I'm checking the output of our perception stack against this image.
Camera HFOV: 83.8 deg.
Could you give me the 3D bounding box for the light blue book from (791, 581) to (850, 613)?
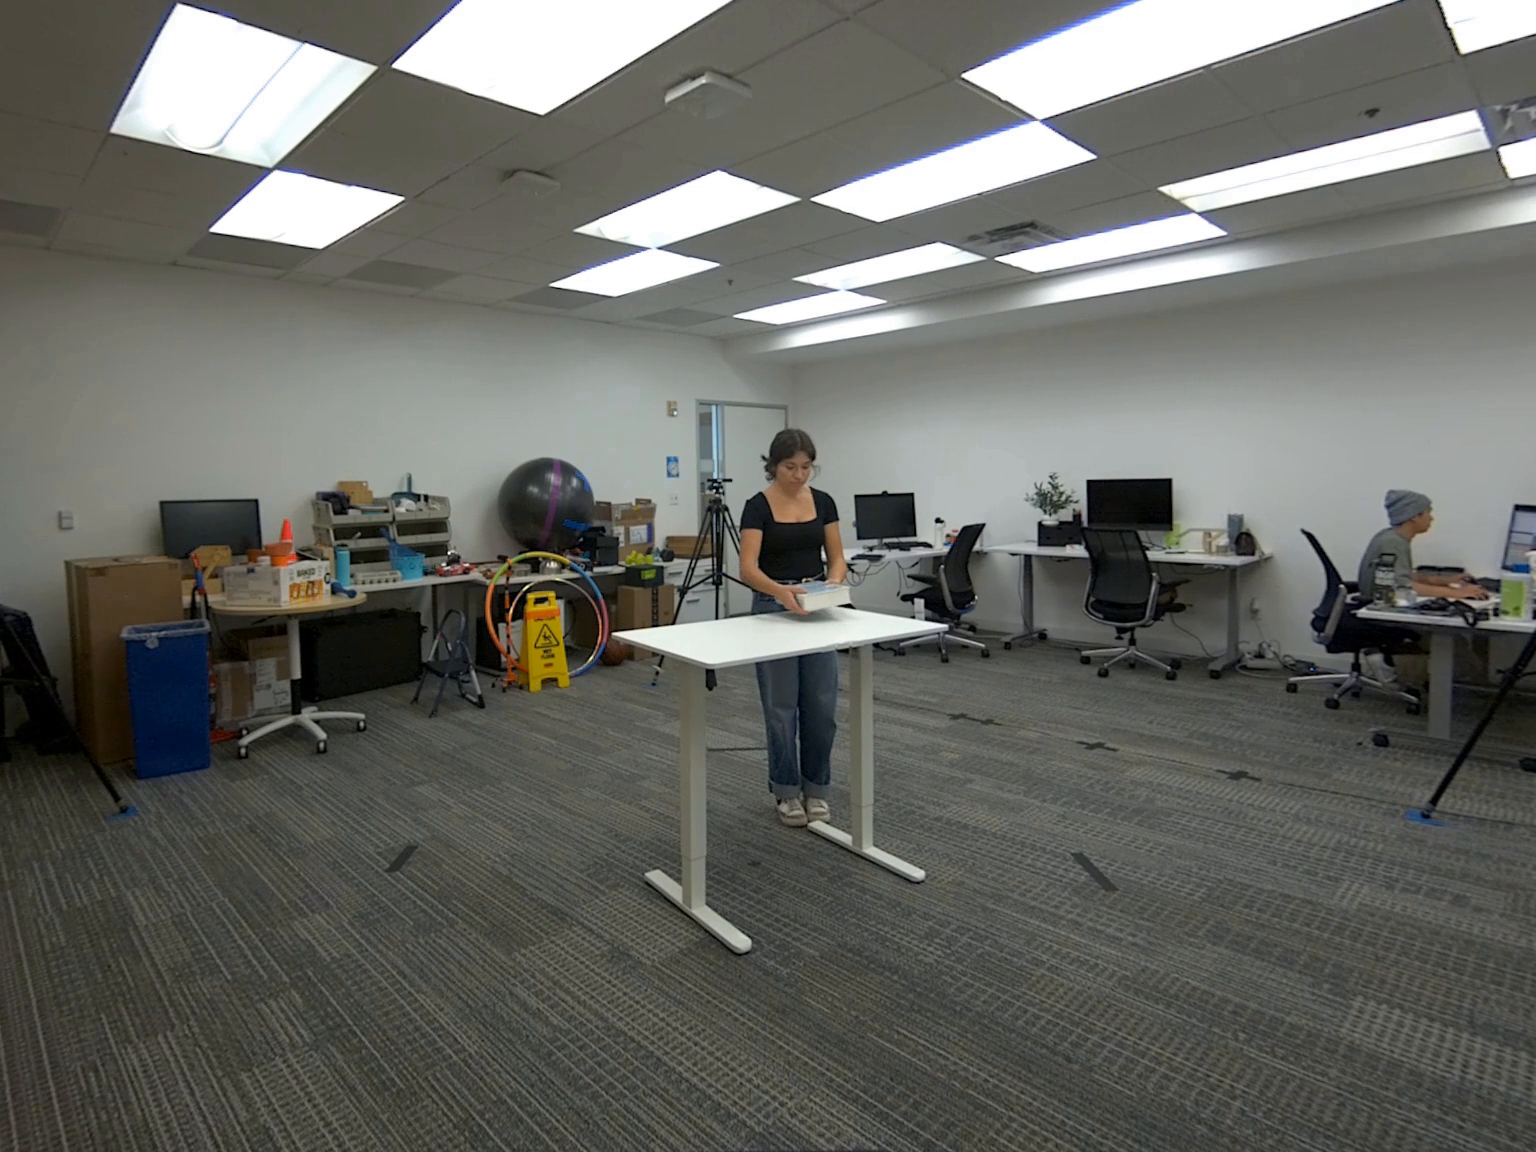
[{"bbox_3d":[0.167,0.073,3.172,0.188,0.058,0.266,-10,8,-20],"label":"light blue book"}]
